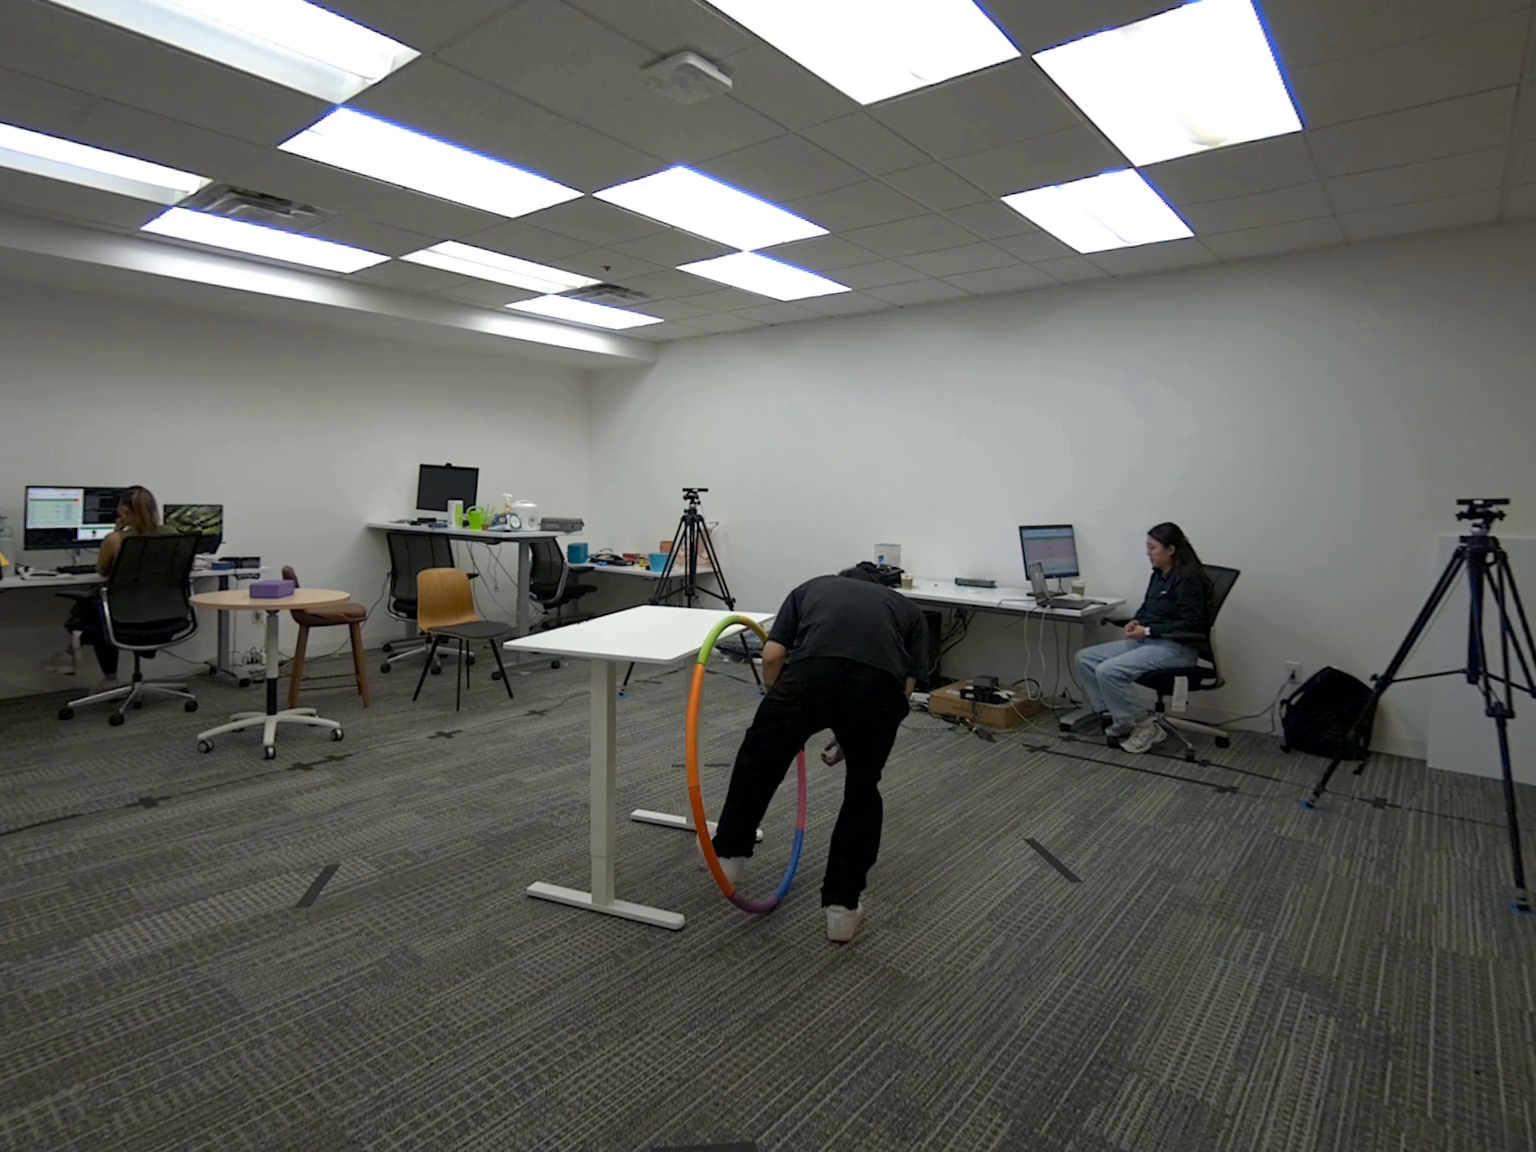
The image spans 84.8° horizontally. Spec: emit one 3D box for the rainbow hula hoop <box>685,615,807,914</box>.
[{"bbox_3d":[-0.057,0.620,2.918,0.036,0.981,0.959,-12,-1,22],"label":"rainbow hula hoop"}]
